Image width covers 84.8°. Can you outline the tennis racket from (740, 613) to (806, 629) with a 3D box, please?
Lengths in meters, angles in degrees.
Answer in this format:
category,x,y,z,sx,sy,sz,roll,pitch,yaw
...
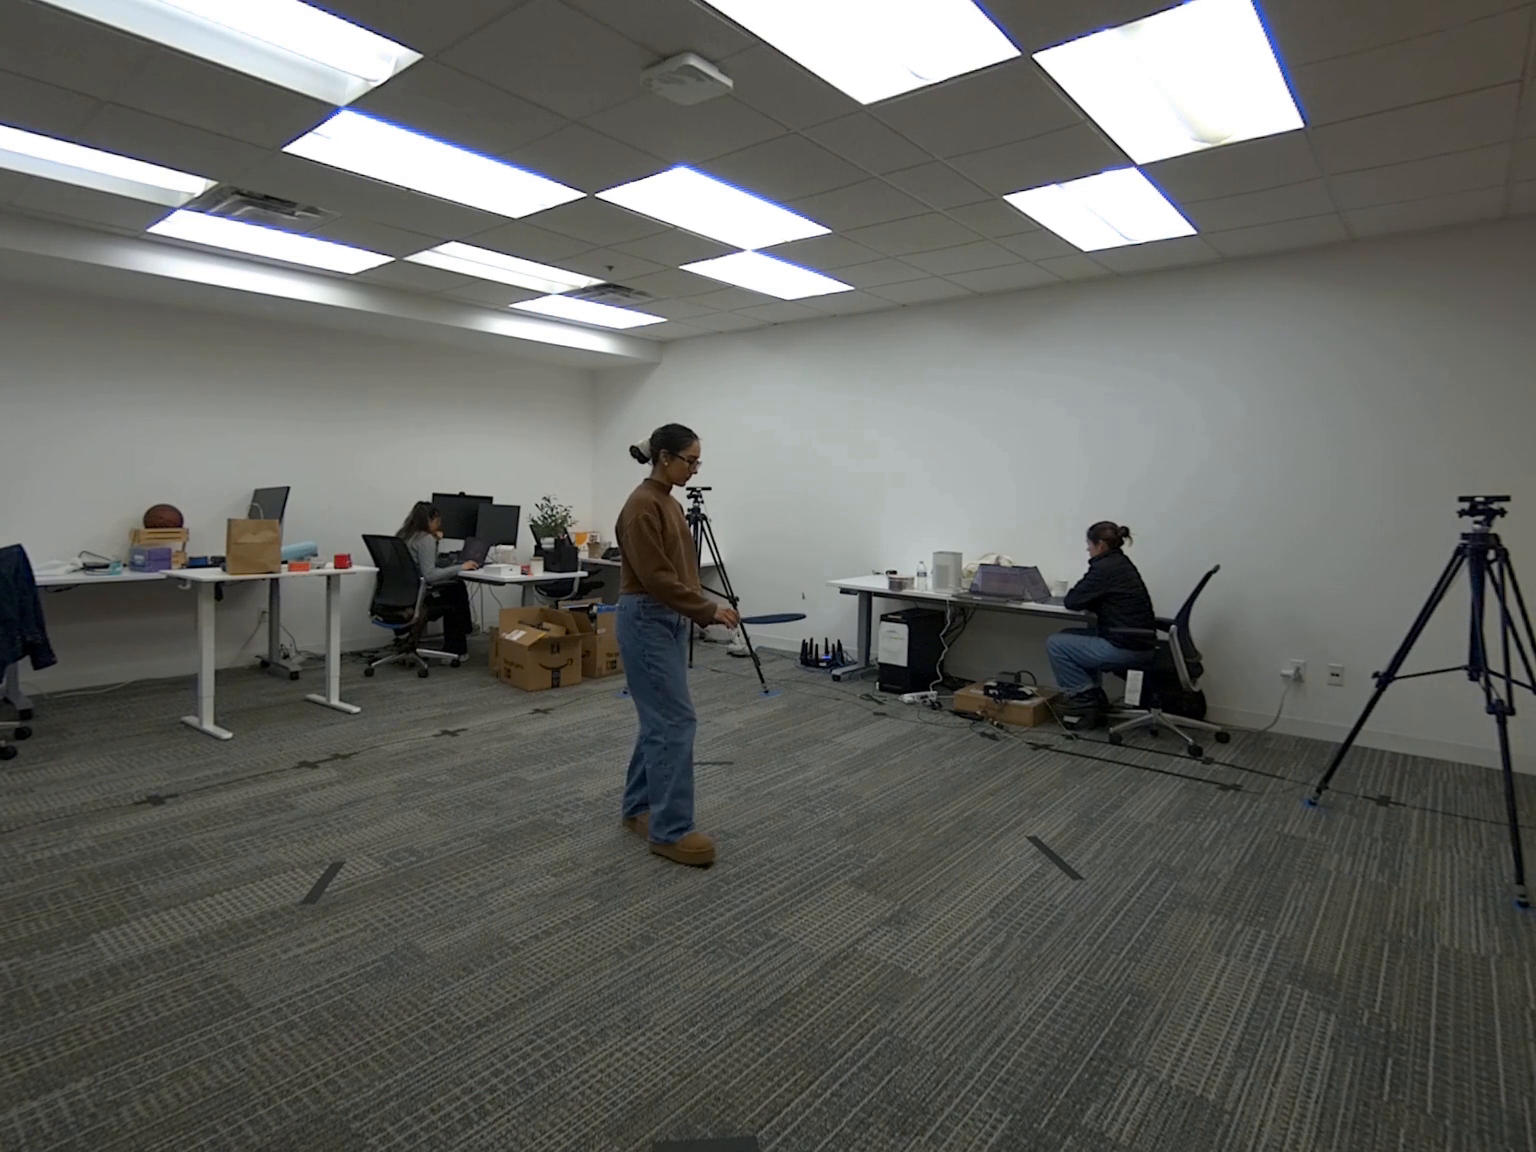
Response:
category,x,y,z,sx,sy,sz,roll,pitch,yaw
tennis racket,-0.076,0.187,3.338,0.422,0.032,0.217,-1,-10,-28
